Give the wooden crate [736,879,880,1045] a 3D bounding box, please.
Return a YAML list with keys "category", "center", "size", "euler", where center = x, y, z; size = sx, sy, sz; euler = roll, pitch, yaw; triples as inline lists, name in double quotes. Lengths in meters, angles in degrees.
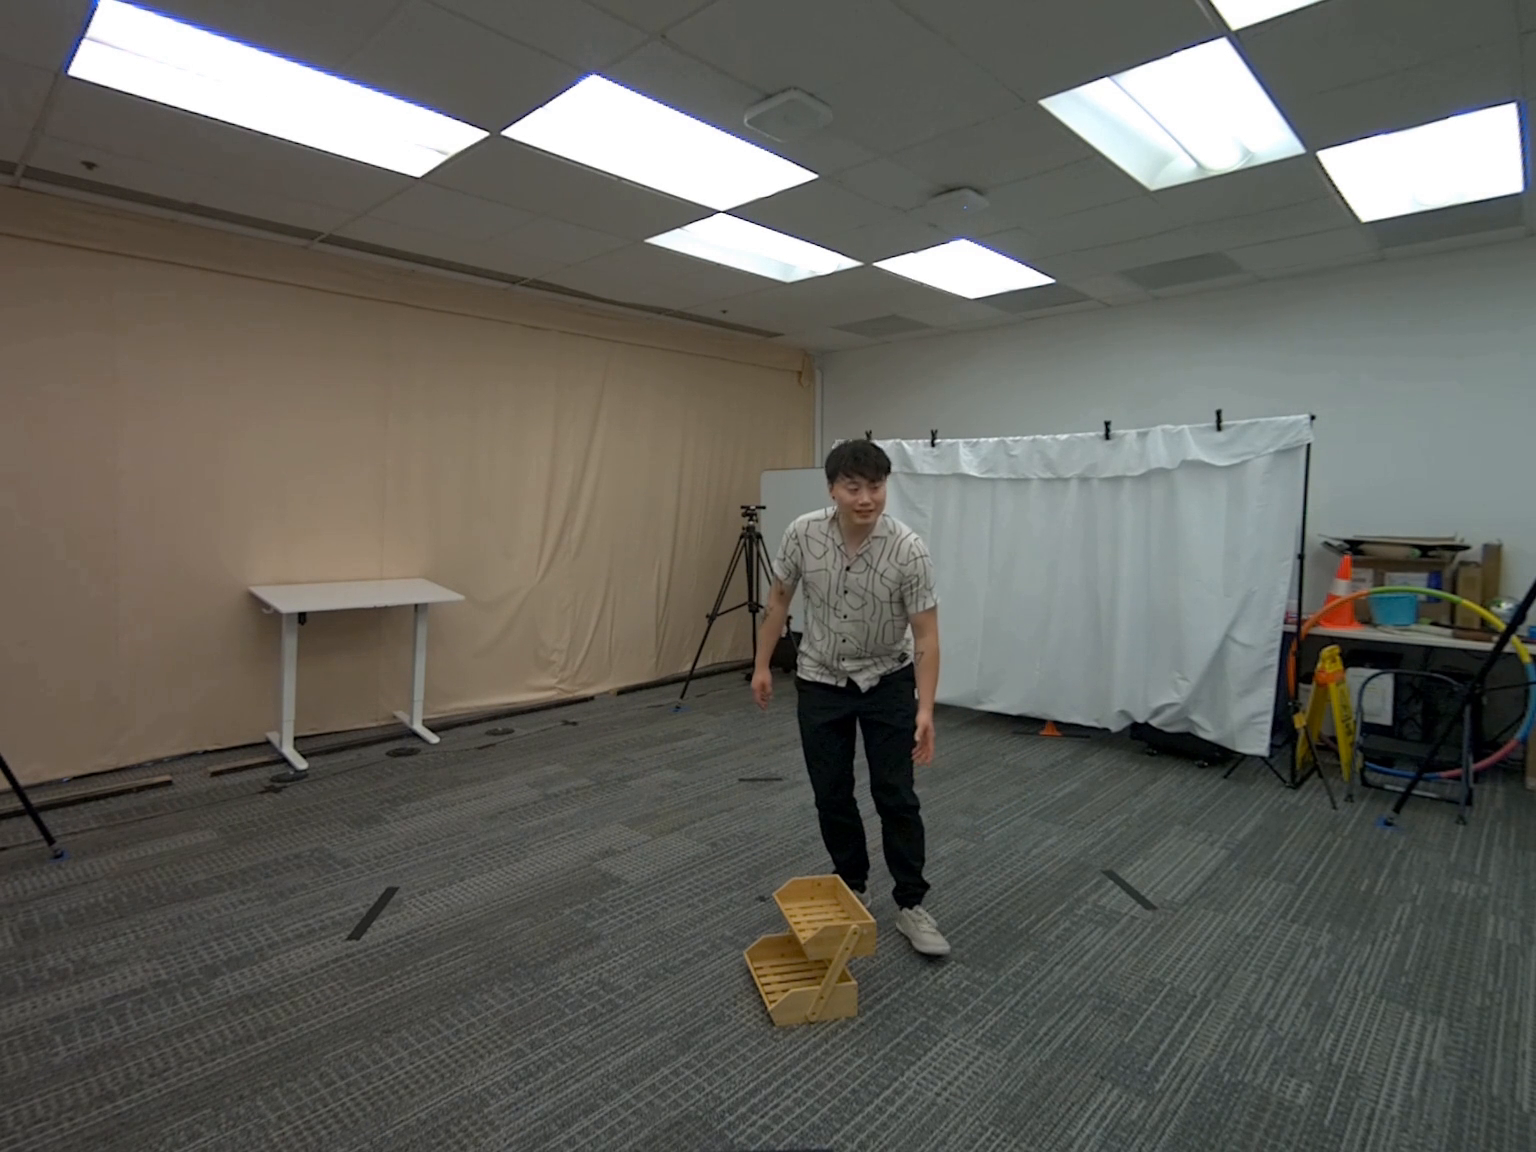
- category: "wooden crate"
  center: [0.101, 1.069, 2.388]
  size: [0.298, 0.273, 0.330]
  euler: [1, 4, -14]
